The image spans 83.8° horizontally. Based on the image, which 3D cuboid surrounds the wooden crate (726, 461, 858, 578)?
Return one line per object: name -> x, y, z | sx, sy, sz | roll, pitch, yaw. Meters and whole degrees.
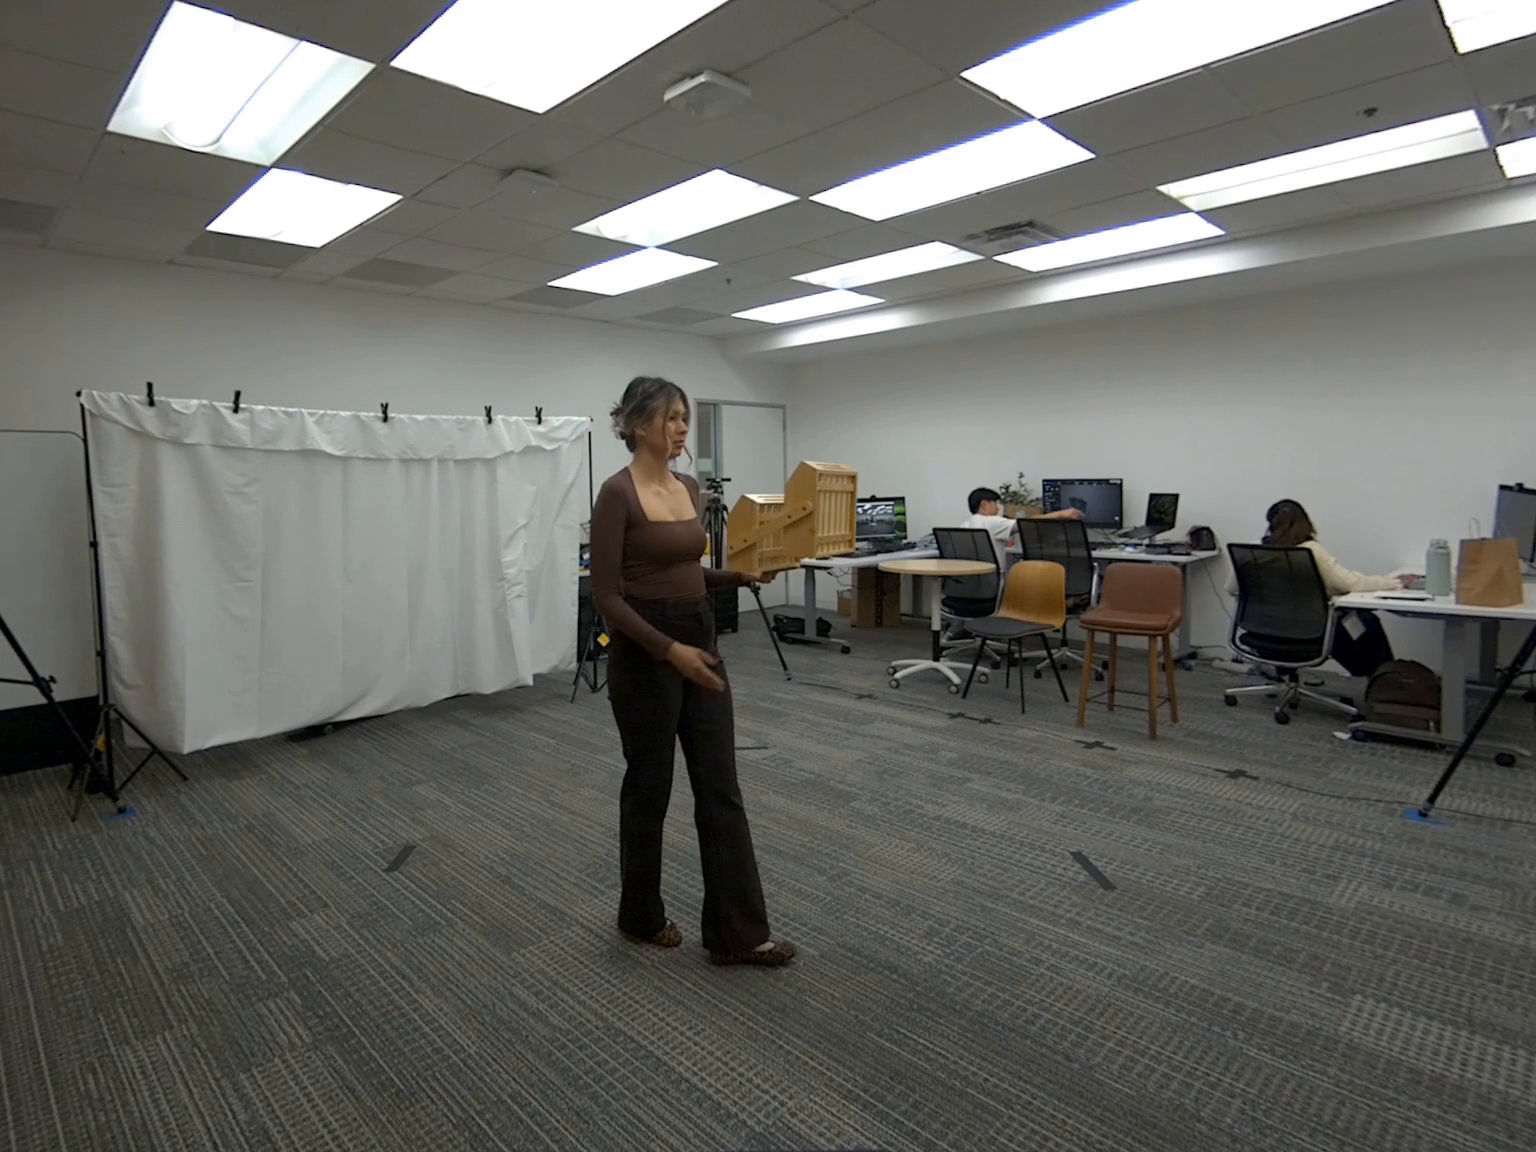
wooden crate -> 0.067, -0.168, 2.383 | 0.280, 0.301, 0.317 | 4, 5, 26
